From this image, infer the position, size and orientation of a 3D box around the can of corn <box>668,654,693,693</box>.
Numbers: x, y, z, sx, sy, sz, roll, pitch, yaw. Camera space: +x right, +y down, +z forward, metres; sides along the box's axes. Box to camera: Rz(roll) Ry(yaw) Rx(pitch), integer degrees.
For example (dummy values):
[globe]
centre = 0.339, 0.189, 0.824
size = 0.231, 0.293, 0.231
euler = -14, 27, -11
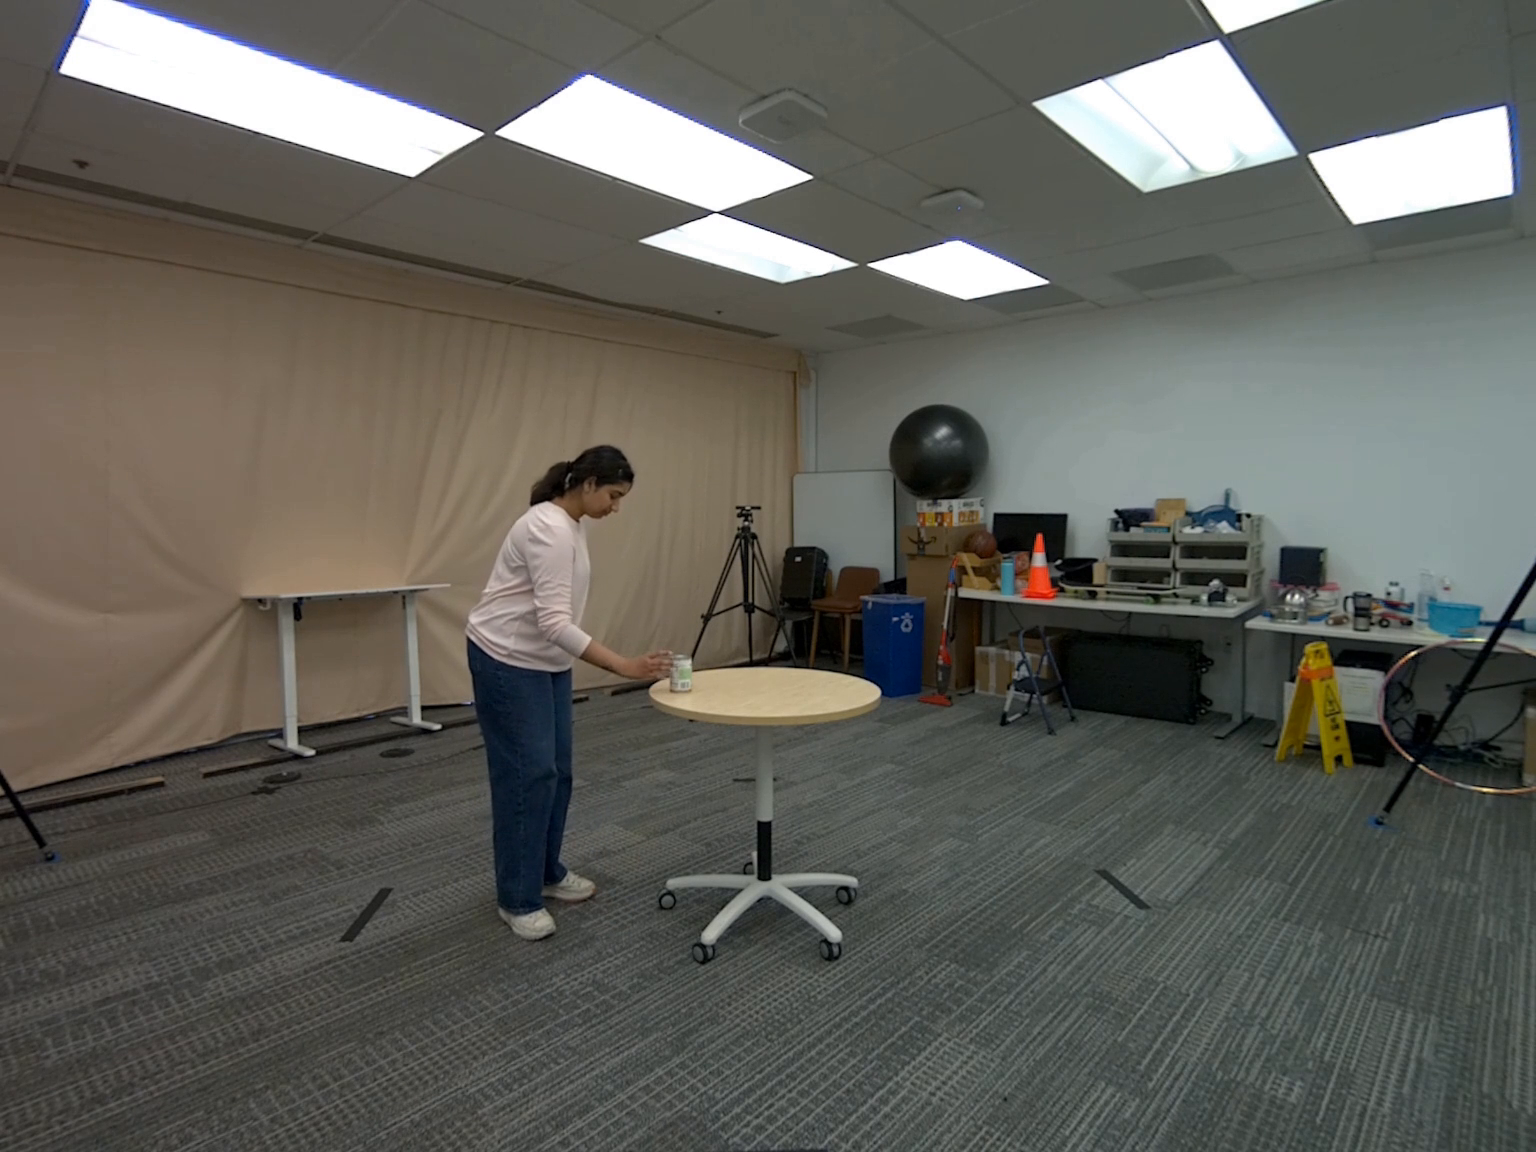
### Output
[can of corn]
centre = -0.286, 0.329, 2.760
size = 0.074, 0.111, 0.074
euler = -2, 1, -2
